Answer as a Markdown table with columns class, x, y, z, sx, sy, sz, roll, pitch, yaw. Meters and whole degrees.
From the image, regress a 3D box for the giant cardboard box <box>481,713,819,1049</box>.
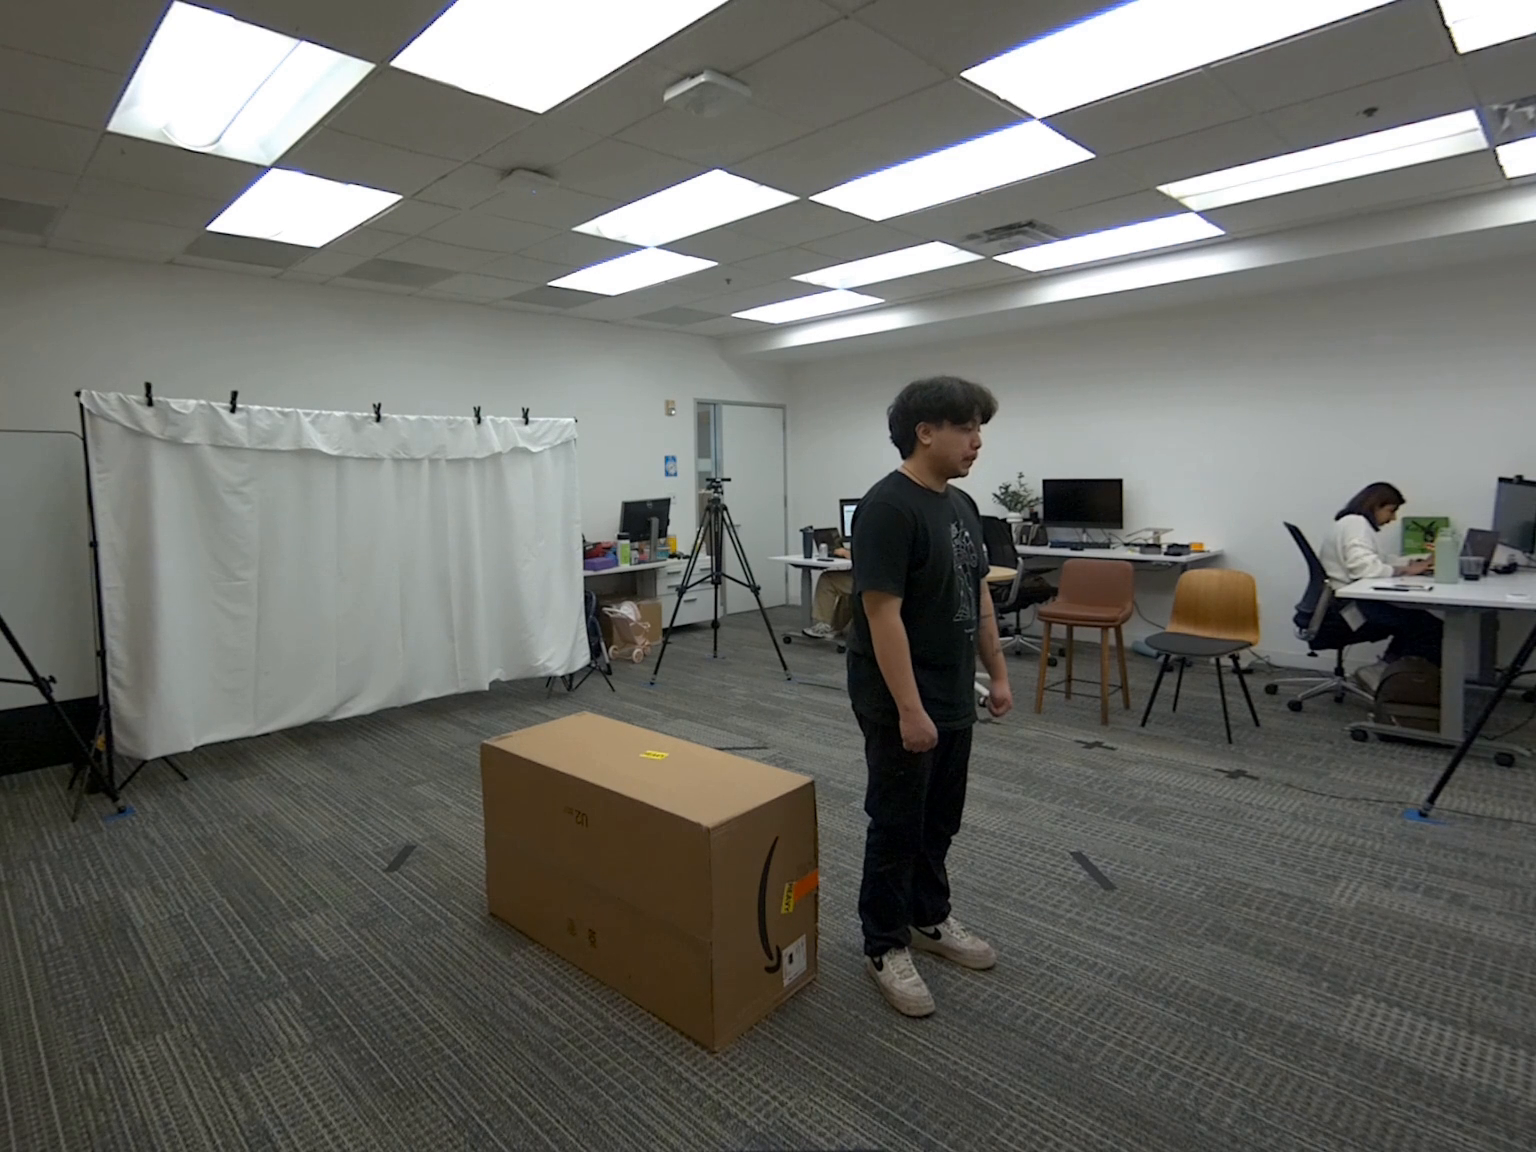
| class | x | y | z | sx | sy | sz | roll | pitch | yaw |
| --- | --- | --- | --- | --- | --- | --- | --- | --- | --- |
| giant cardboard box | -0.389 | 0.826 | 2.563 | 1.059 | 0.581 | 0.435 | 5 | 7 | 41 |
